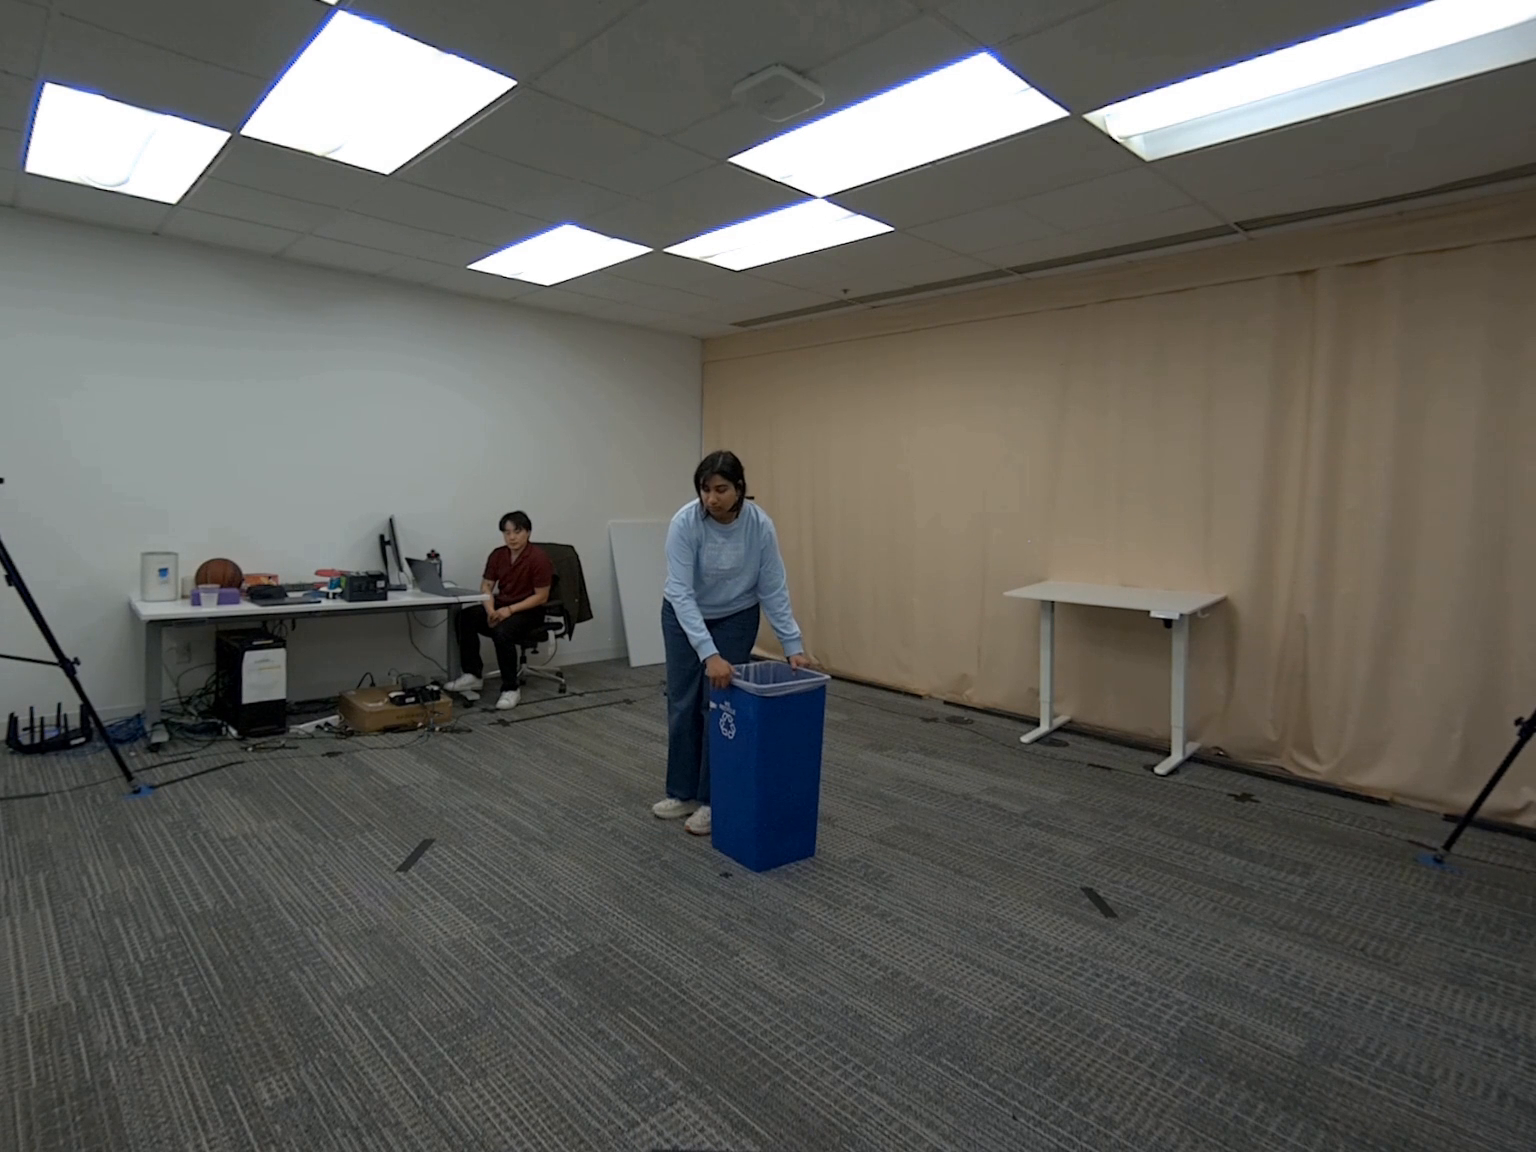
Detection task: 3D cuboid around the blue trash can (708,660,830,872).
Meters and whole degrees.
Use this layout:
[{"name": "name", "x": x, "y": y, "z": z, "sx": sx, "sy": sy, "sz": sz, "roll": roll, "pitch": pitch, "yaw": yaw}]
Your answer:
[{"name": "blue trash can", "x": -0.009, "y": 0.730, "z": 3.302, "sx": 0.370, "sy": 0.711, "sz": 0.383, "roll": -2, "pitch": 5, "yaw": -37}]
